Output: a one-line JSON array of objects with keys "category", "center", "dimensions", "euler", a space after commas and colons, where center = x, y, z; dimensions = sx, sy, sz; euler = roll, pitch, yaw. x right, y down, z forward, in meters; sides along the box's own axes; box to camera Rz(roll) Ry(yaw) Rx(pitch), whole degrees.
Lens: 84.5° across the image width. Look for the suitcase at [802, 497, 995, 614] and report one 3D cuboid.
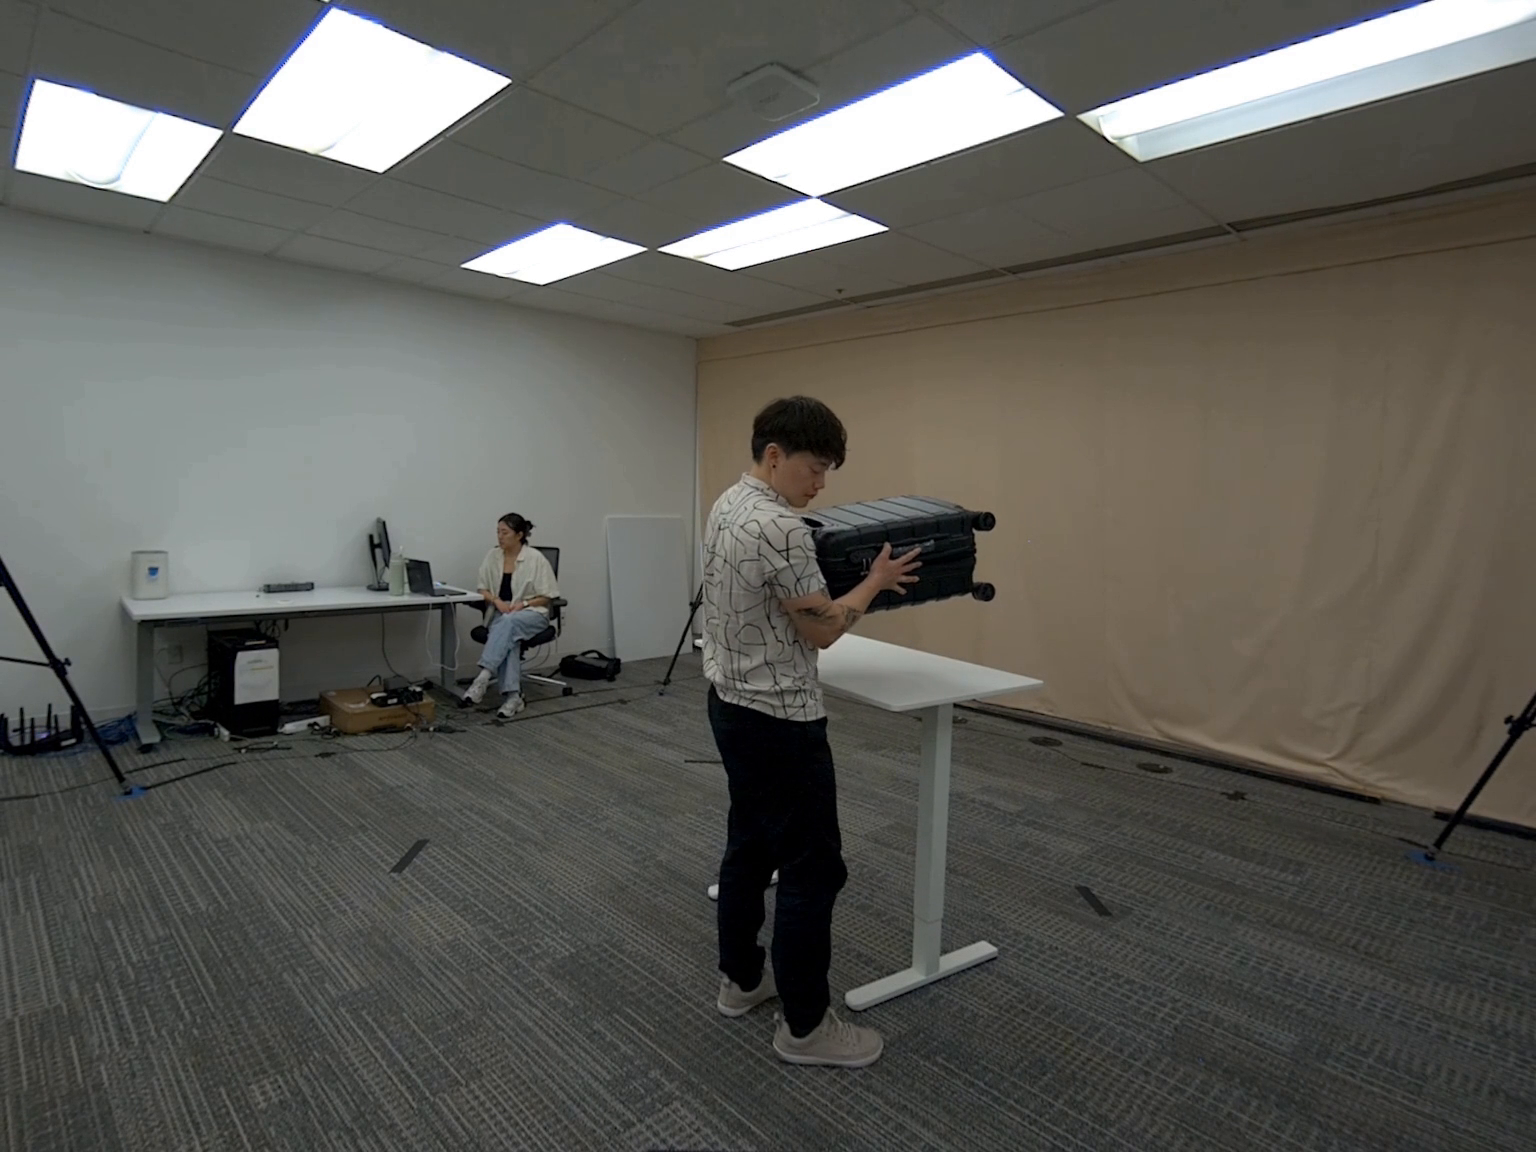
[{"category": "suitcase", "center": [0.313, -0.071, 2.435], "dimensions": [0.541, 0.245, 0.385], "euler": [-8, 17, -24]}]
